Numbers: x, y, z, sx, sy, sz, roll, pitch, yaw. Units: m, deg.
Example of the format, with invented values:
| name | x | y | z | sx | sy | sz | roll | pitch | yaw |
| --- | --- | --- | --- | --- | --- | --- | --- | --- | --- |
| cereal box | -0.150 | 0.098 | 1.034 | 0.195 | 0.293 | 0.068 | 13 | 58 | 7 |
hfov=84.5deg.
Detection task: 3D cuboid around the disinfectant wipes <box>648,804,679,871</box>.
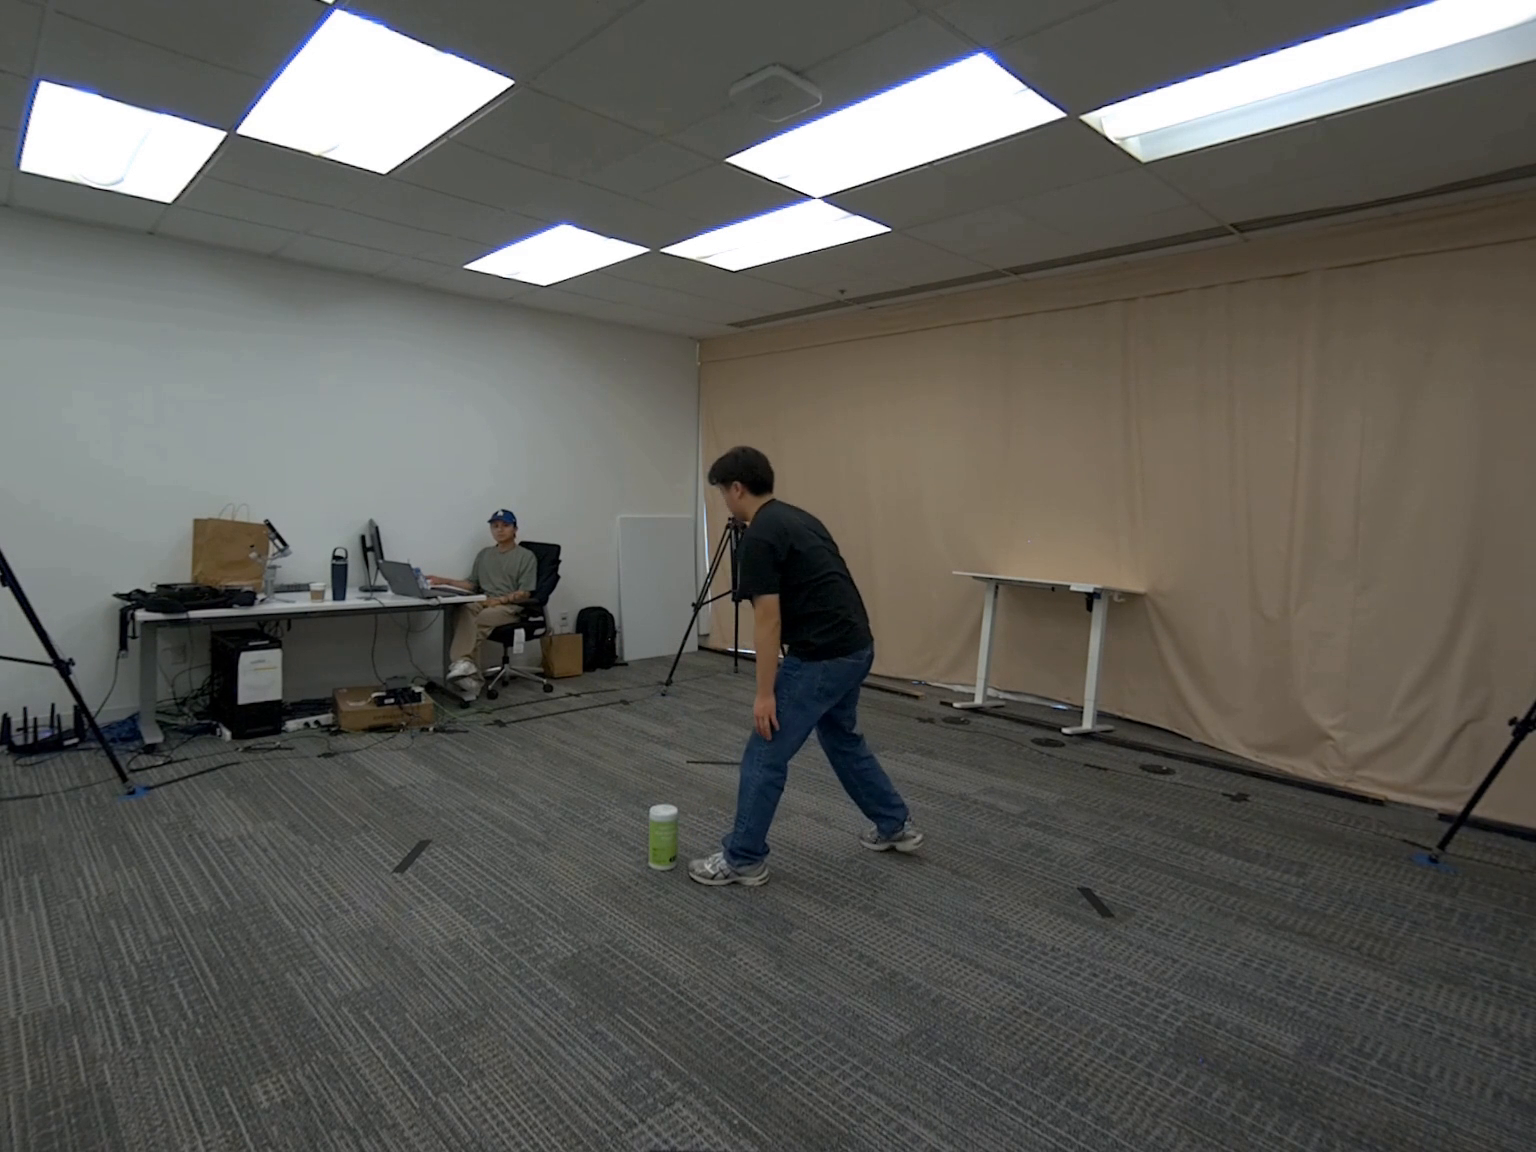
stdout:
| name | x | y | z | sx | sy | sz | roll | pitch | yaw |
| --- | --- | --- | --- | --- | --- | --- | --- | --- | --- |
| disinfectant wipes | -0.402 | 0.985 | 3.181 | 0.118 | 0.216 | 0.118 | 1 | 7 | -1 |
